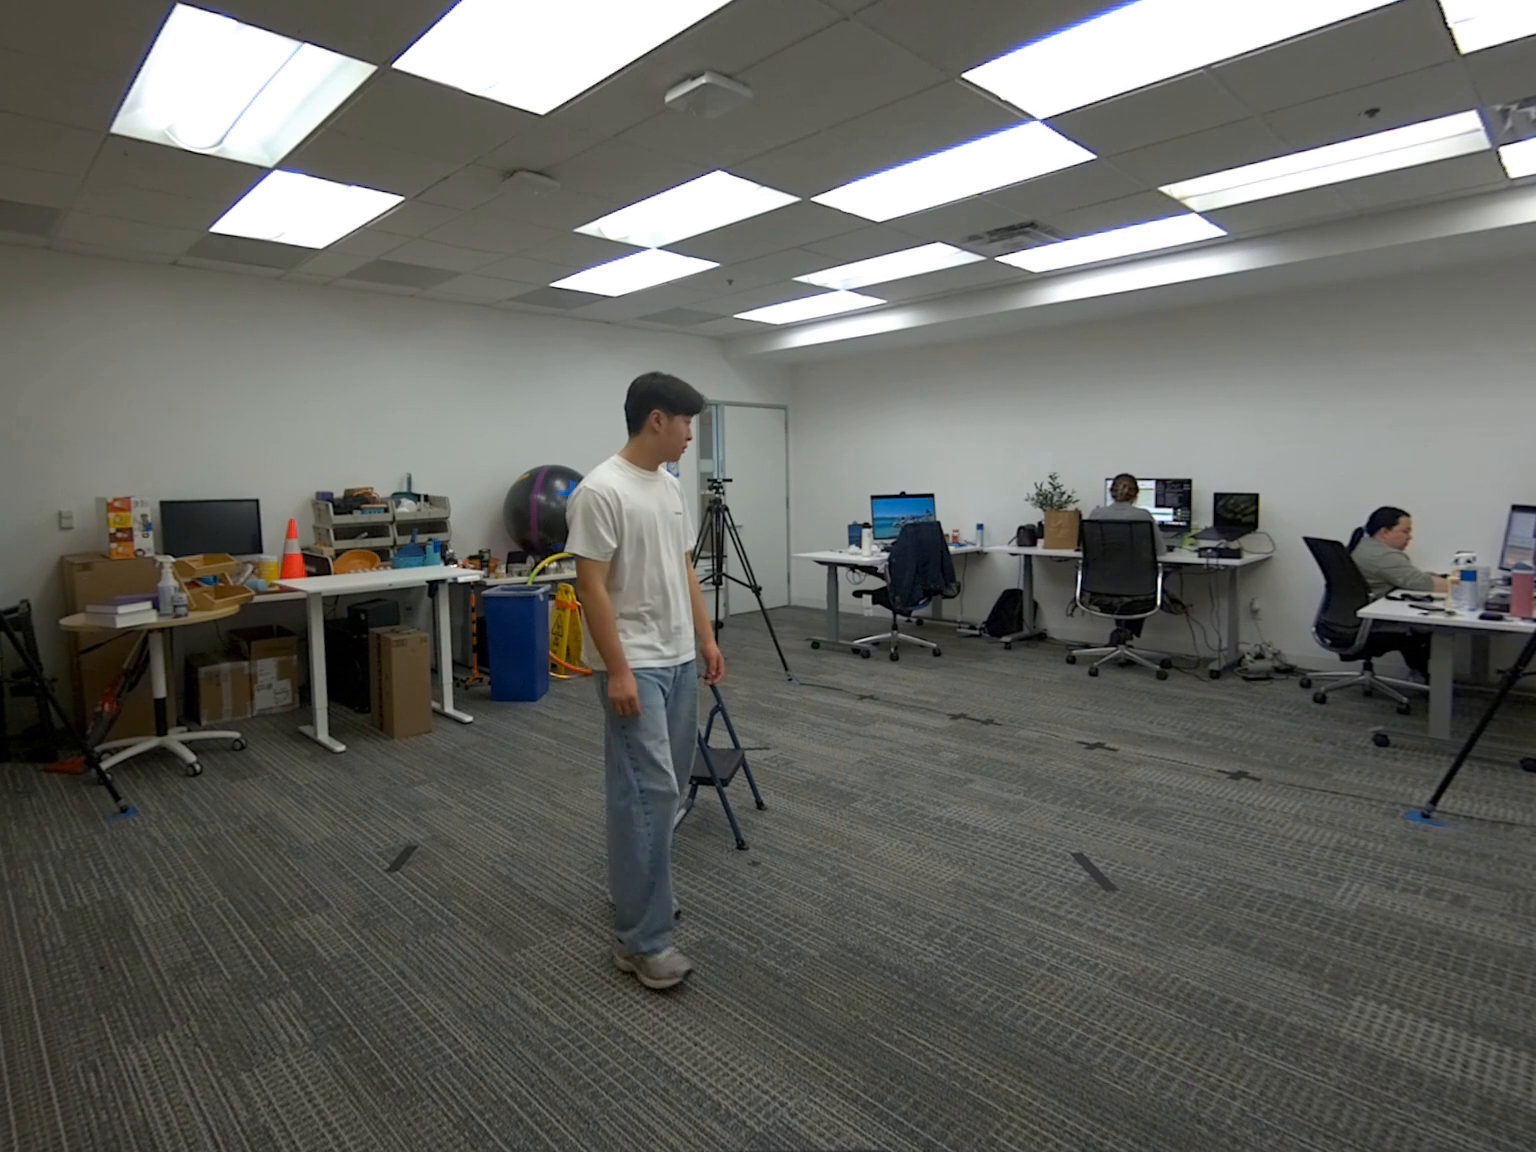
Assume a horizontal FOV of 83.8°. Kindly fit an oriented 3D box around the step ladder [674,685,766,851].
[{"bbox_3d":[-0.218,0.707,3.447,0.353,0.604,0.427,0,4,11],"label":"step ladder"}]
